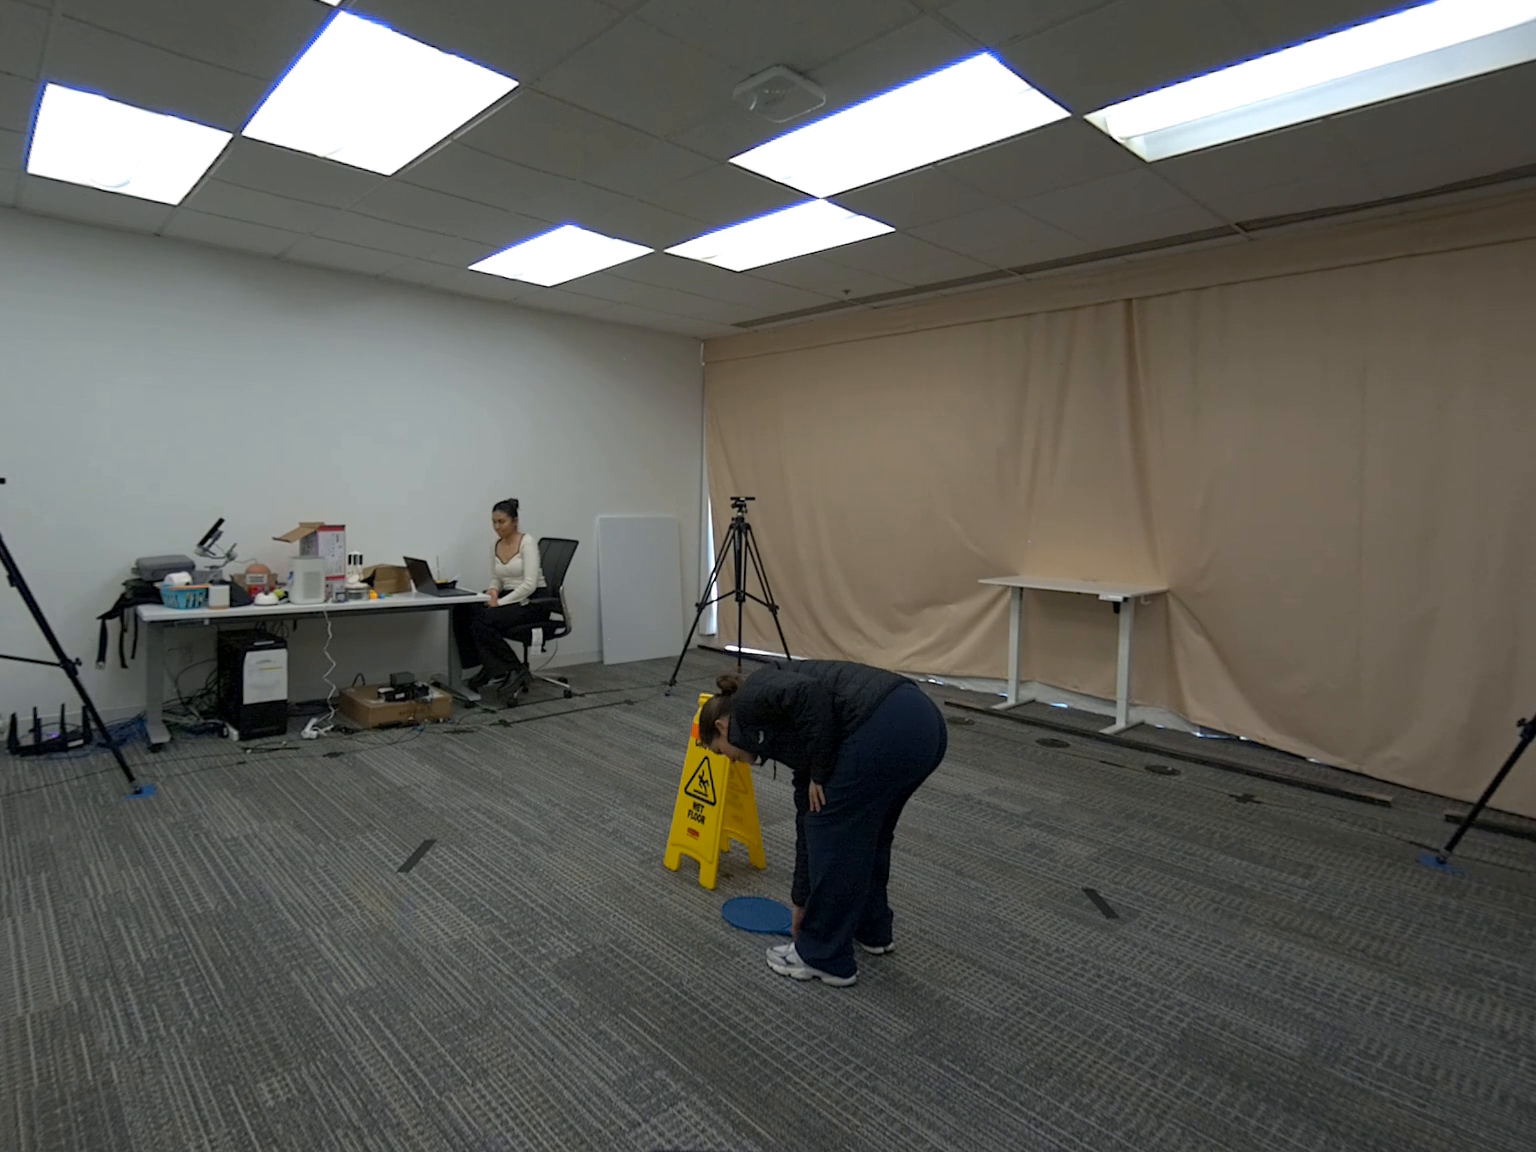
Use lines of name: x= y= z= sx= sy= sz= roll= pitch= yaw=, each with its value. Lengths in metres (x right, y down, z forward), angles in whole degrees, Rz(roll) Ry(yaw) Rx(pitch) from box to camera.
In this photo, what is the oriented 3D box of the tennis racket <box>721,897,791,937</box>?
tennis racket: x=0.021 y=1.124 z=2.737 sx=0.209 sy=0.032 sz=0.443 roll=-4 pitch=5 yaw=-41
